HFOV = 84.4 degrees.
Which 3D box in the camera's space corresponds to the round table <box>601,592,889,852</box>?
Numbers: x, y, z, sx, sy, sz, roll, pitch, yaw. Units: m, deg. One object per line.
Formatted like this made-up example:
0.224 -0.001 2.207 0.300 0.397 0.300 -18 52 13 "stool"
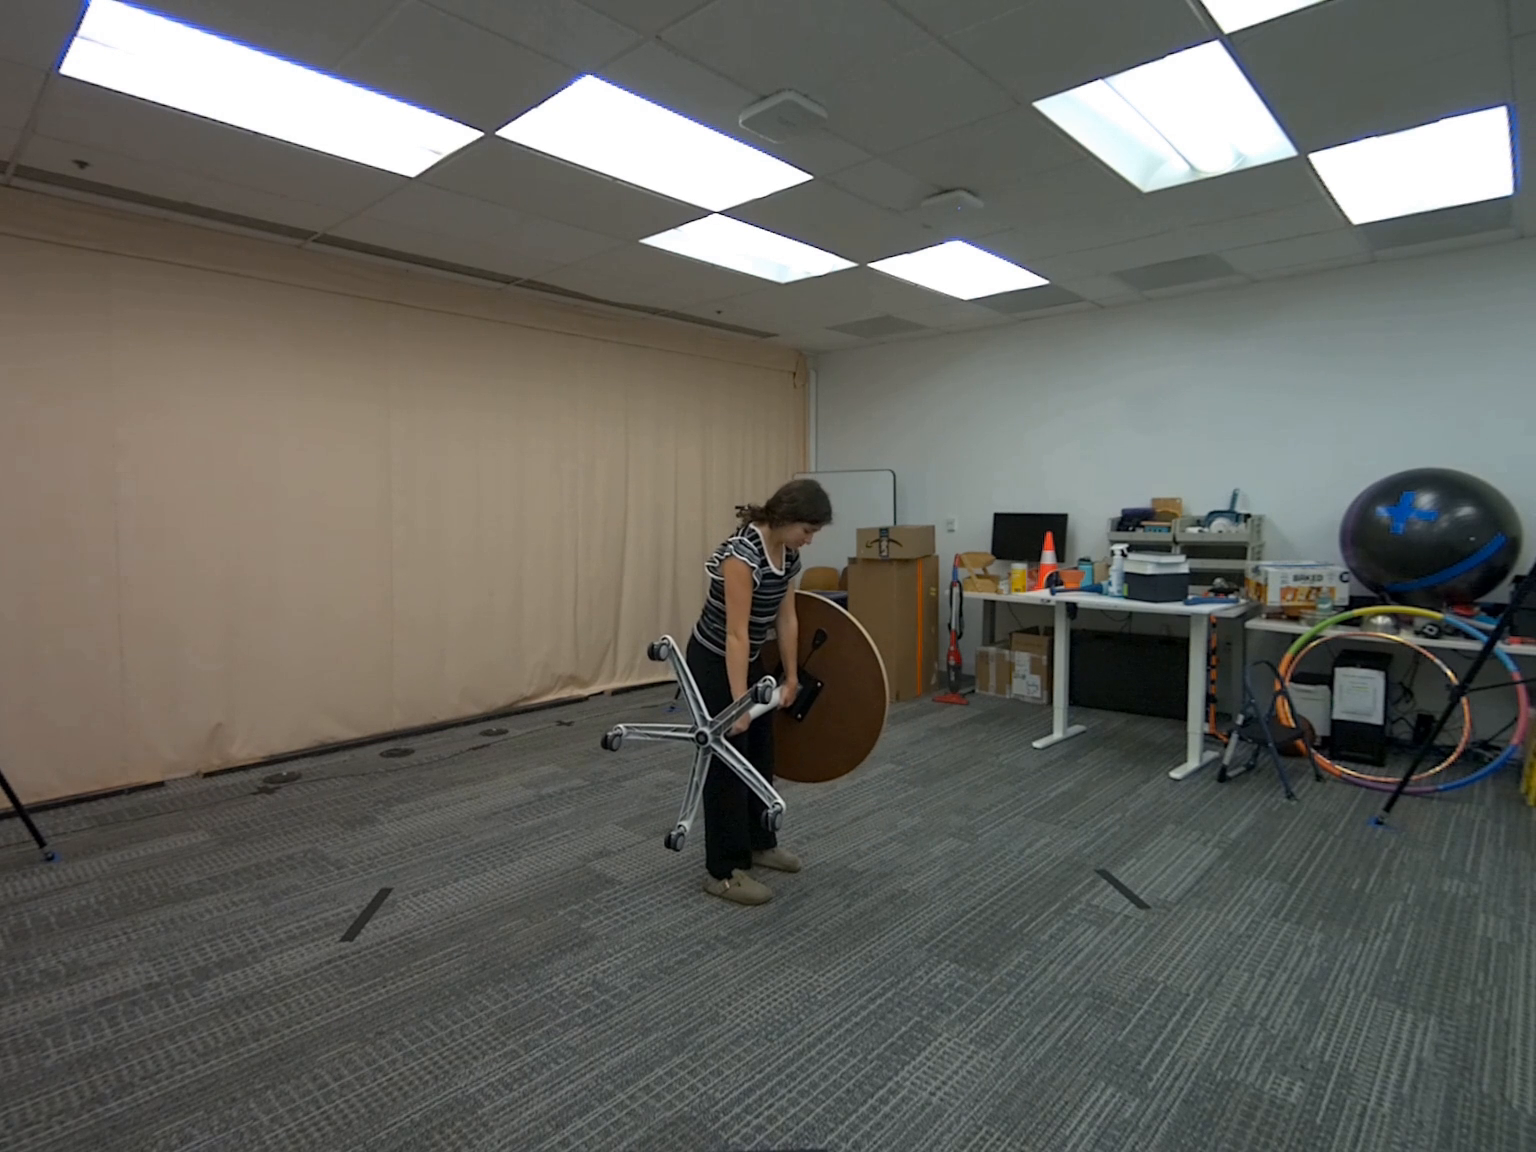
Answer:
-0.070 0.496 2.990 0.786 0.760 0.775 2 8 30 "round table"
